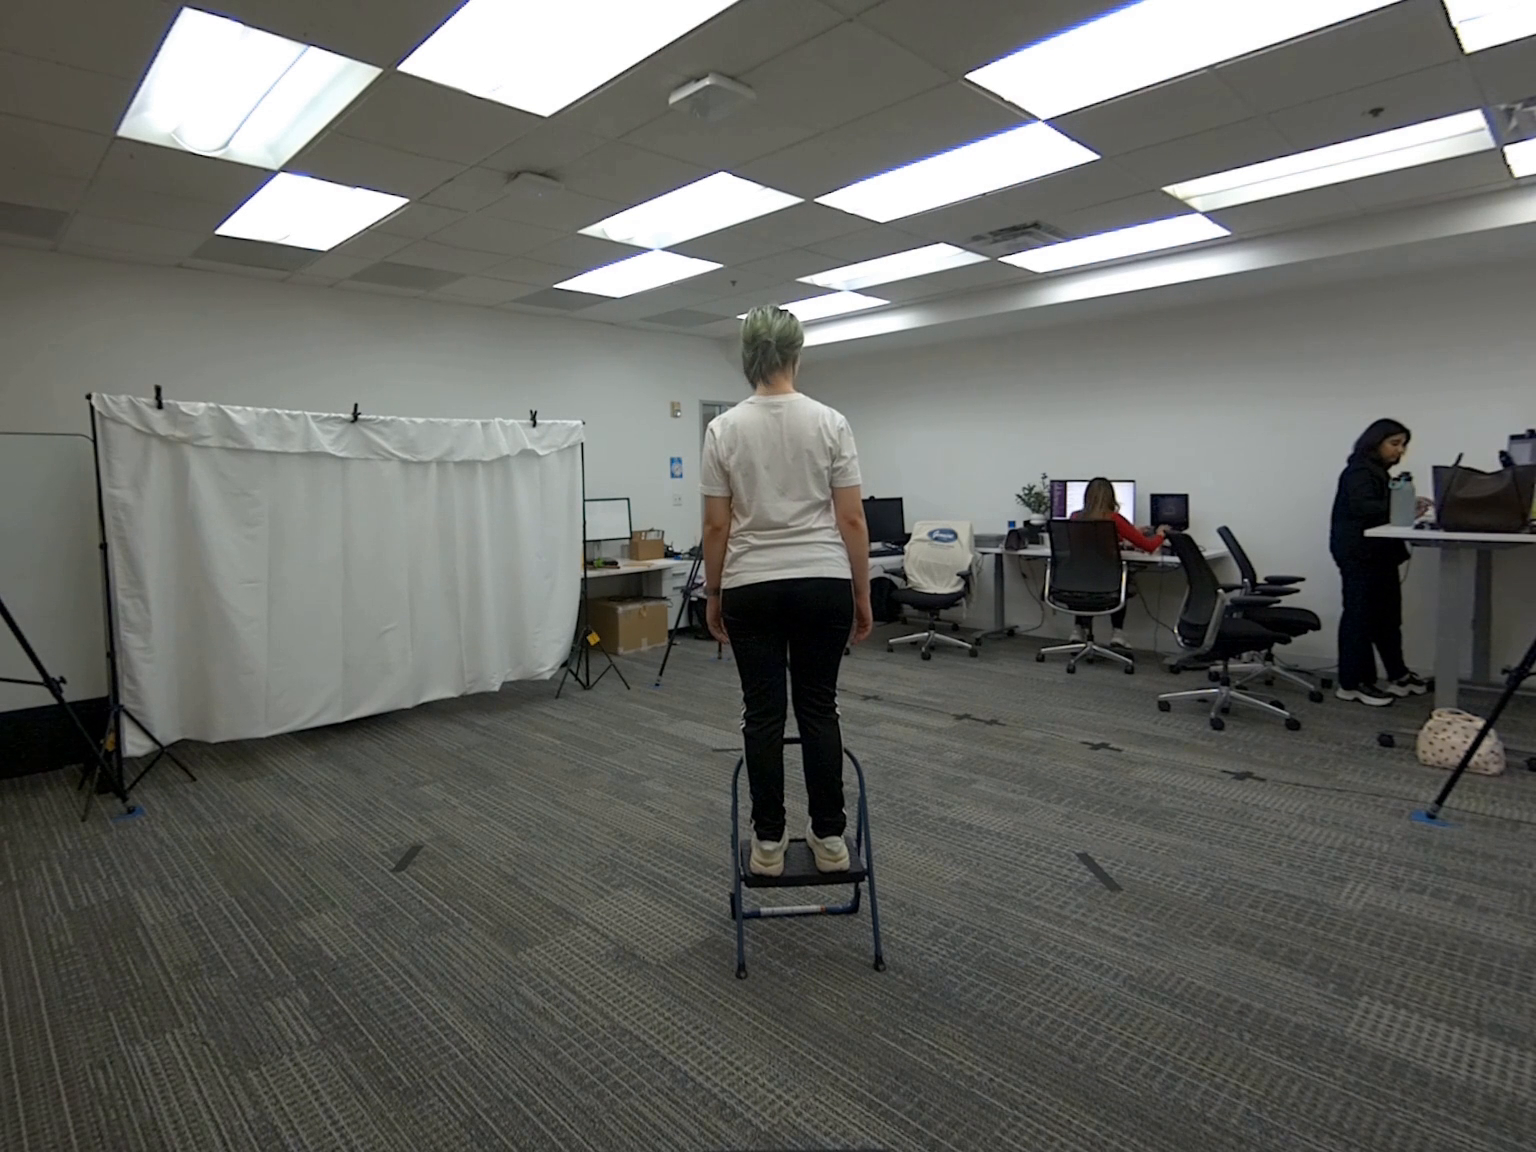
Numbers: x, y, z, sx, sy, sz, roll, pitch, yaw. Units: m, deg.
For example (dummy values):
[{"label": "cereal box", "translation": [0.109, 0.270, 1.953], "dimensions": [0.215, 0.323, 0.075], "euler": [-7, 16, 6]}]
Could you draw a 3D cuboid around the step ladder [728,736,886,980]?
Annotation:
[{"label": "step ladder", "translation": [0.105, 0.809, 2.565], "dimensions": [0.429, 0.603, 0.352], "euler": [-1, 5, -5]}]
